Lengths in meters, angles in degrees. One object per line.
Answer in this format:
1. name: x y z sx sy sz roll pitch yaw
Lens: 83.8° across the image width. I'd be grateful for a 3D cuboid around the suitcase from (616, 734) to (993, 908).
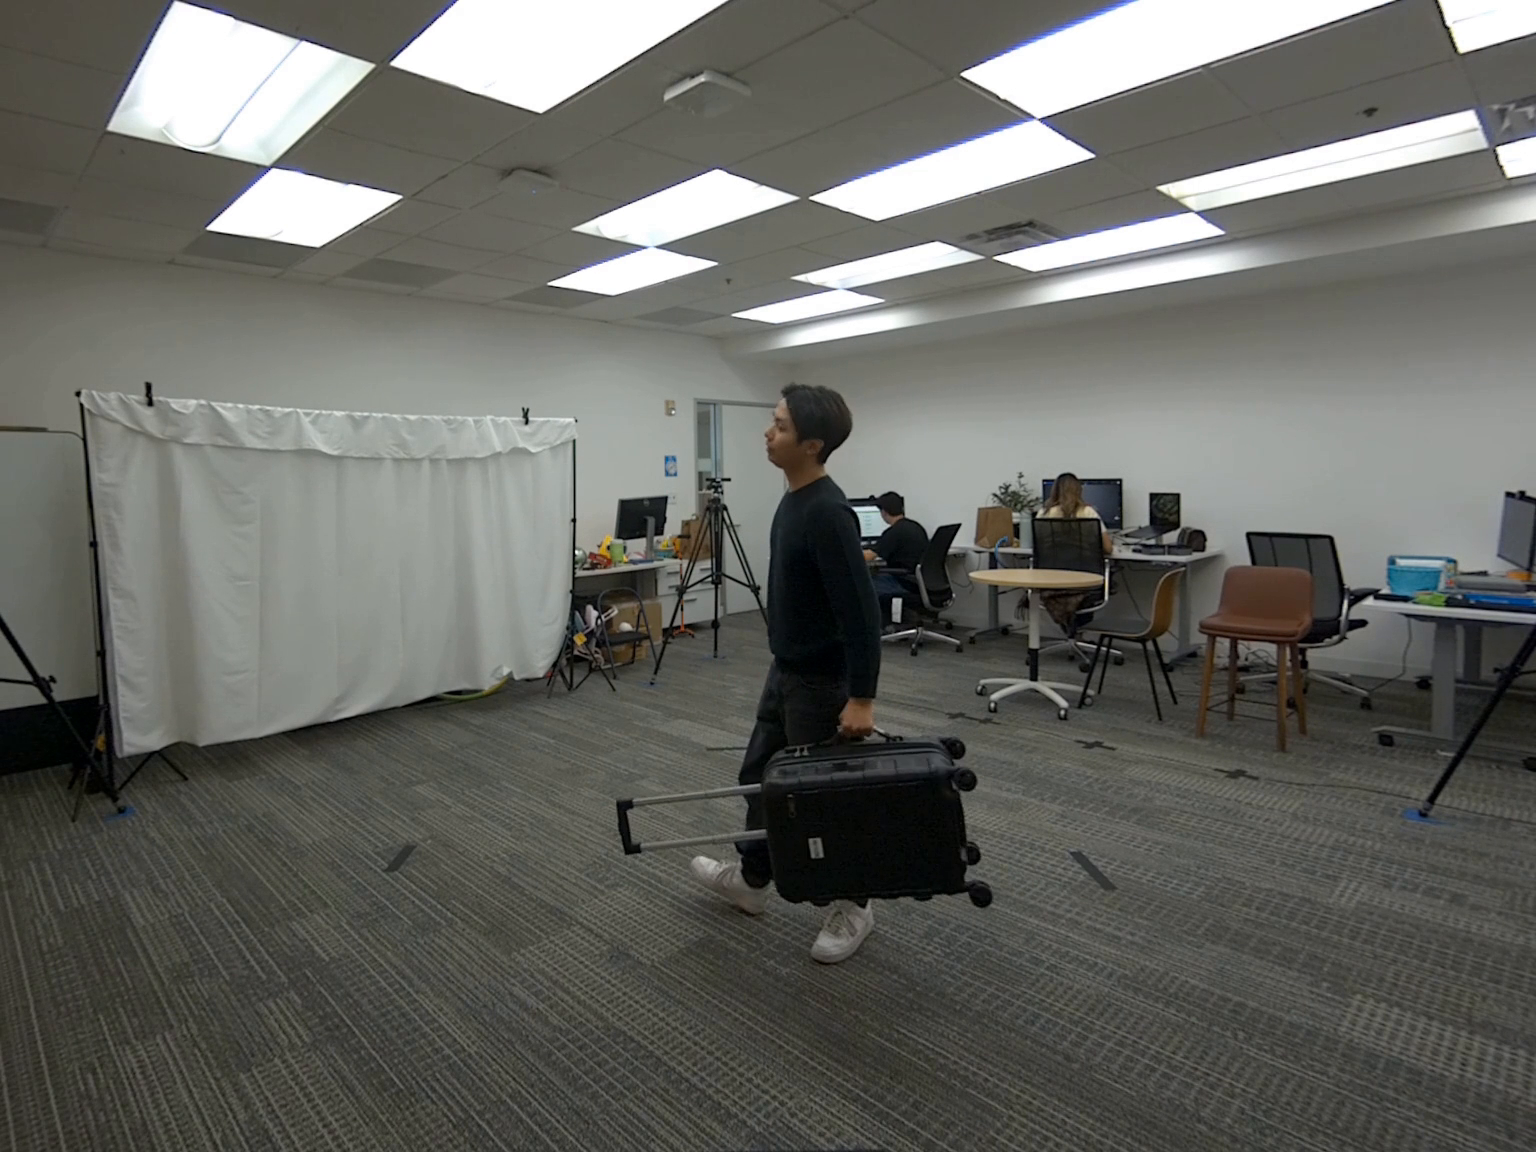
1. suitcase: 0.058 0.656 2.263 0.985 0.382 0.256 -7 4 8
